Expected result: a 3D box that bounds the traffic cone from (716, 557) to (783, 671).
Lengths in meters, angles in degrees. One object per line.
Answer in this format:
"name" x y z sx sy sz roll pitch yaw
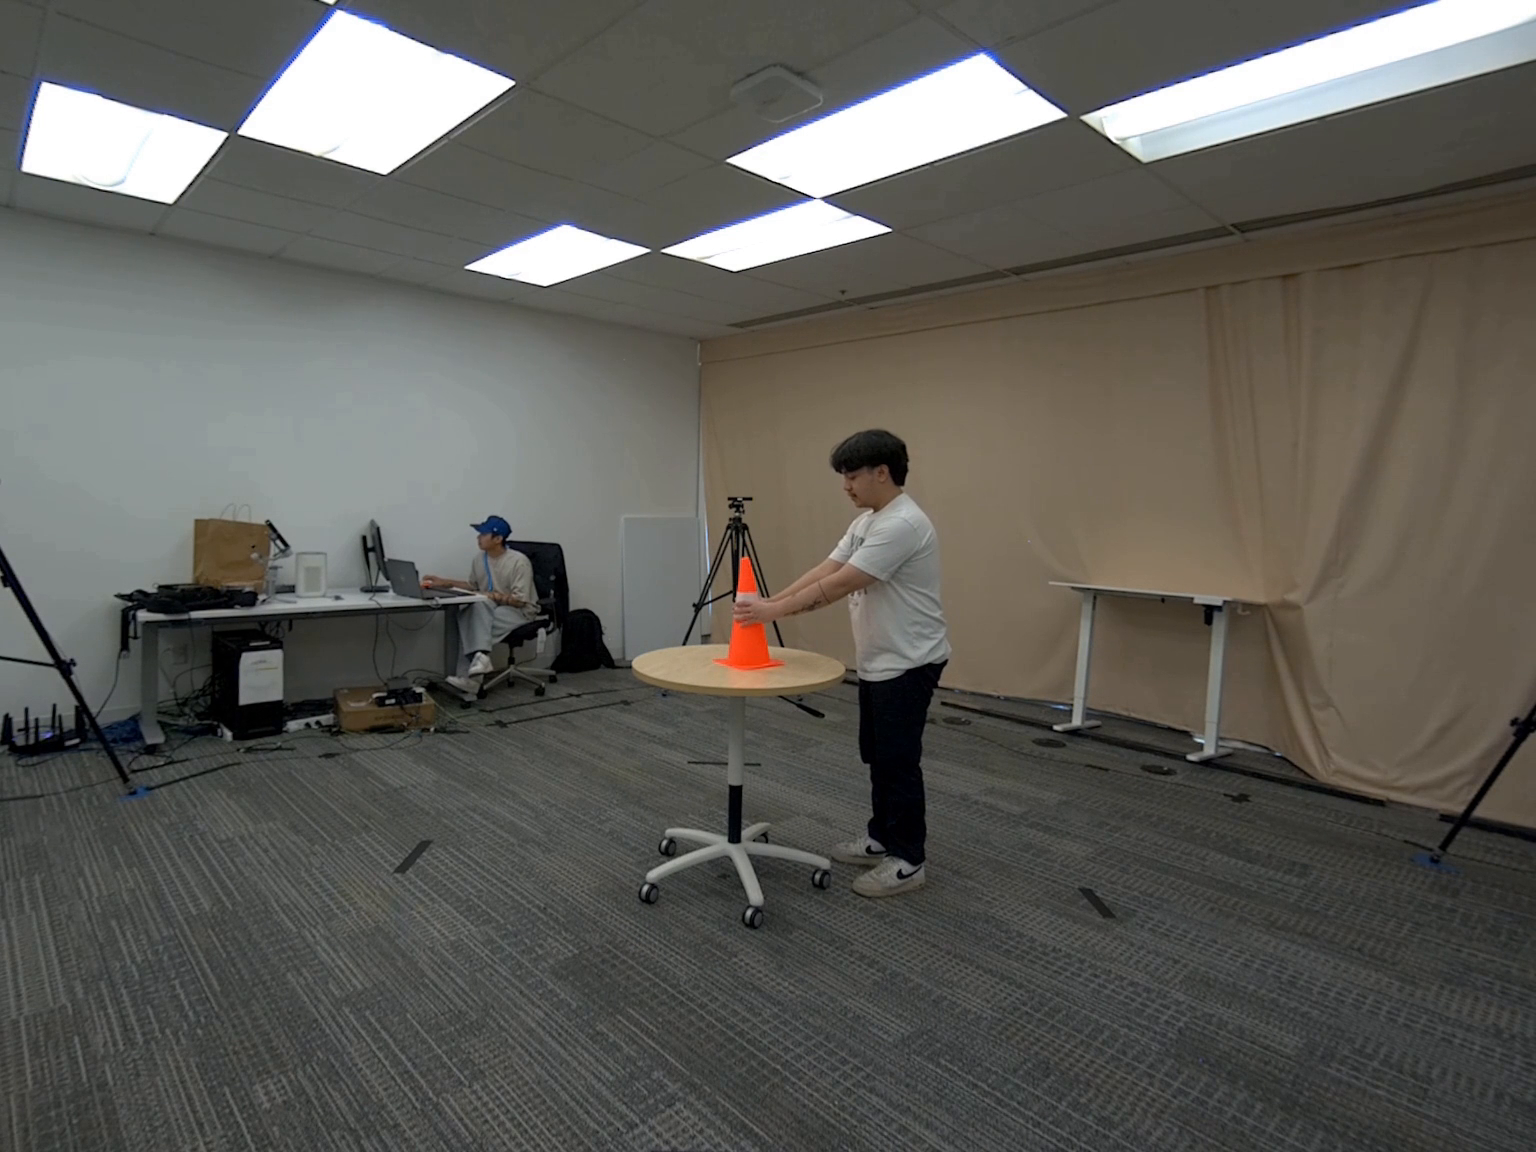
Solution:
"traffic cone" -0.074 0.127 3.040 0.208 0.382 0.200 4 6 42
